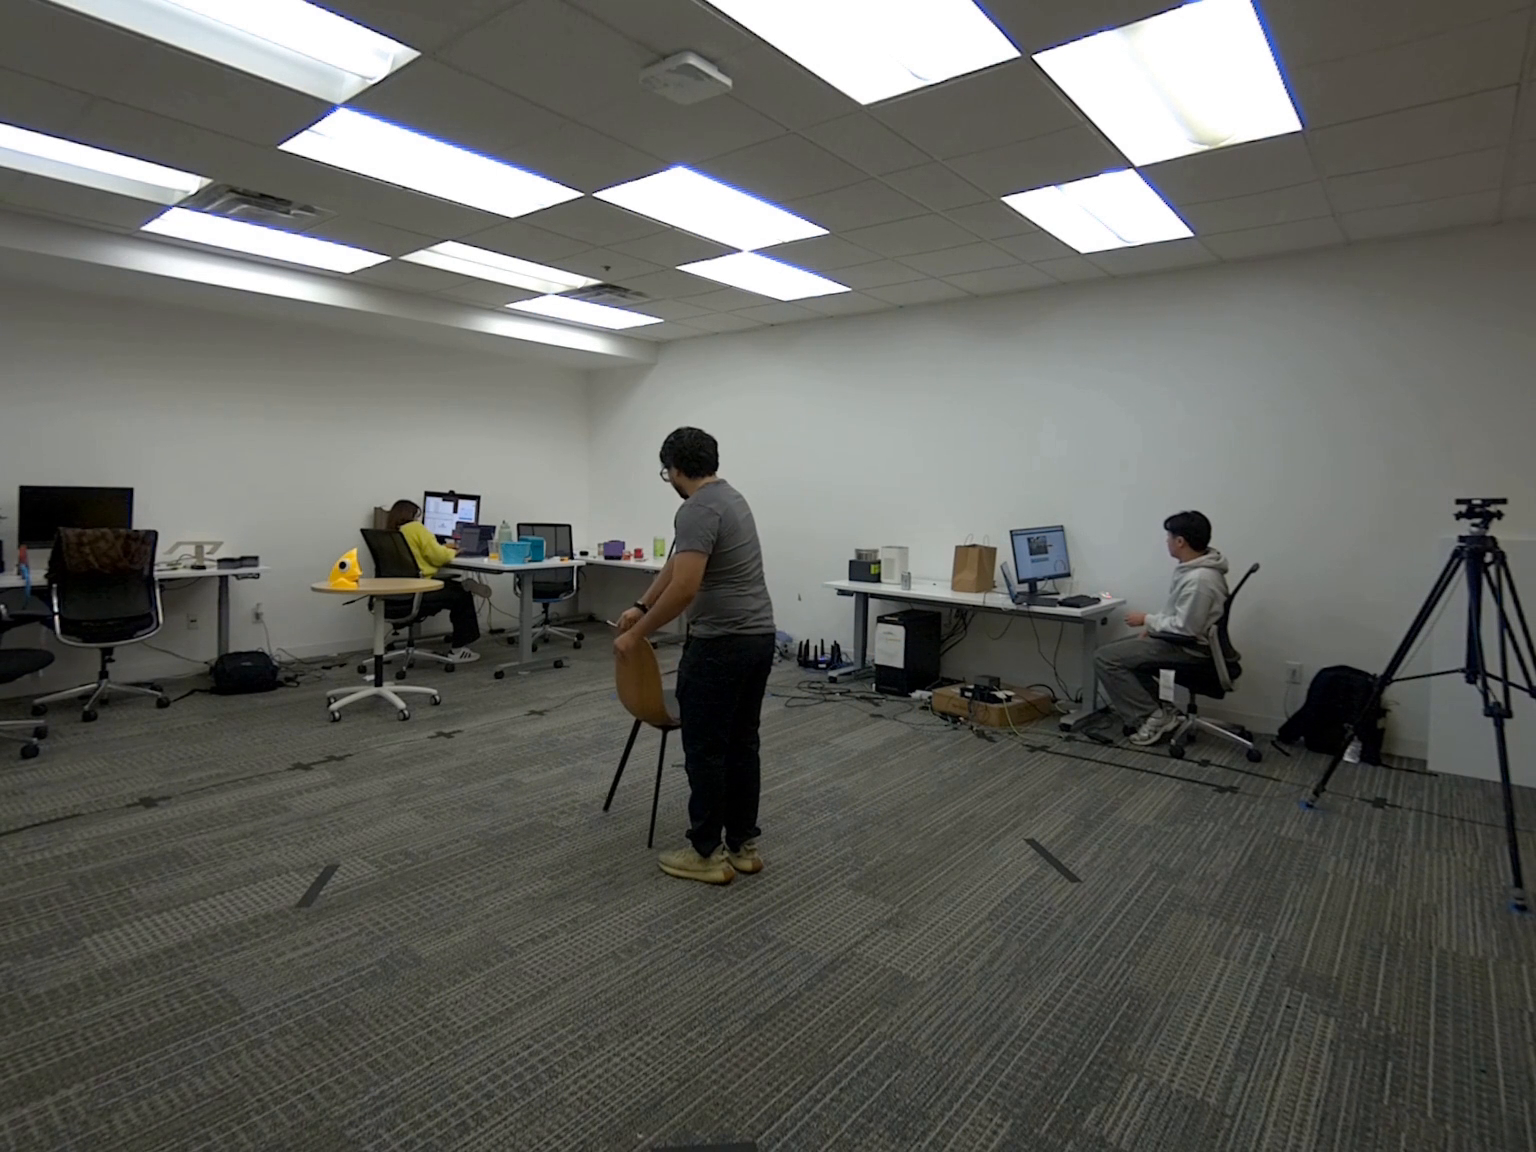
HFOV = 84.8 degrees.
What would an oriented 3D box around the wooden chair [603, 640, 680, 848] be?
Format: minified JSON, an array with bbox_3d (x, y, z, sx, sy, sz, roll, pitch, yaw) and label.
[{"bbox_3d":[-0.392,0.595,3.566,0.510,0.873,0.493,-6,7,-33],"label":"wooden chair"}]
